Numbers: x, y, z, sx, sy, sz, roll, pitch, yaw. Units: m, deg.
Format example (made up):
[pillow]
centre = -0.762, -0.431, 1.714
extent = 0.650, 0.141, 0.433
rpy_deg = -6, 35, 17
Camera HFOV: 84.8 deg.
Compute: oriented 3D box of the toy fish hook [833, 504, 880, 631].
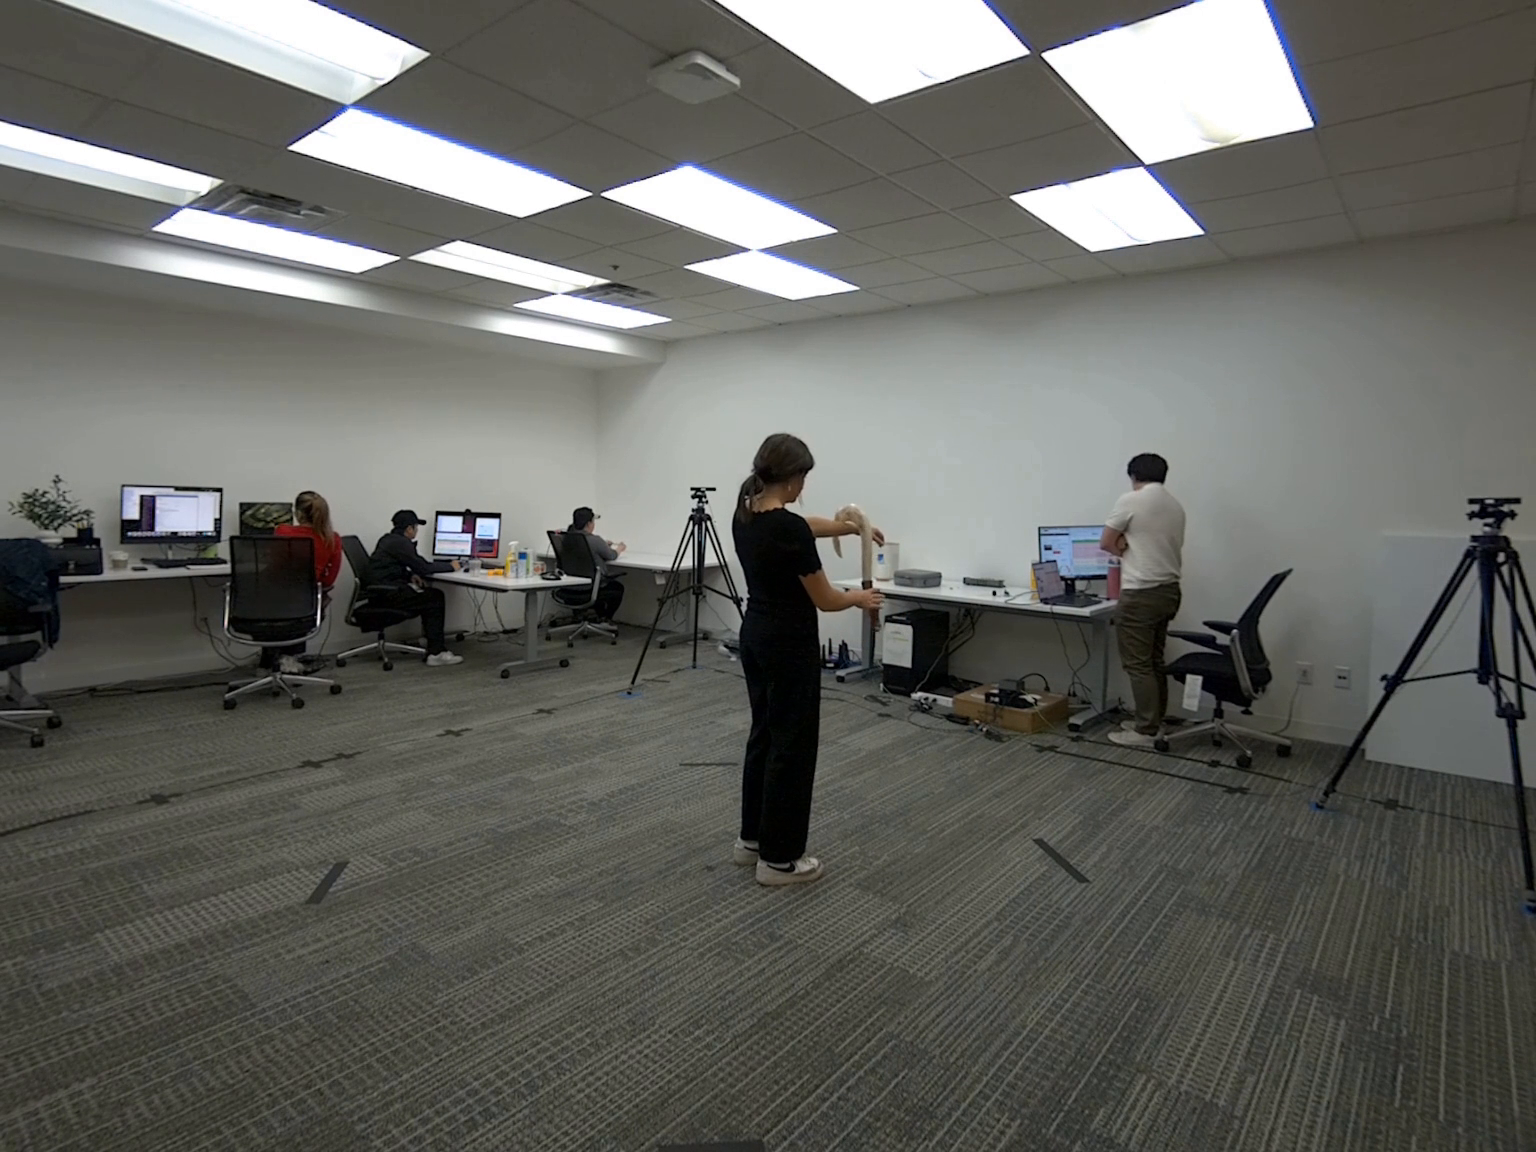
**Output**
[toy fish hook]
centre = 0.337, -0.021, 3.348
extent = 0.047, 0.510, 0.228
rpy_deg = -5, -7, -30
